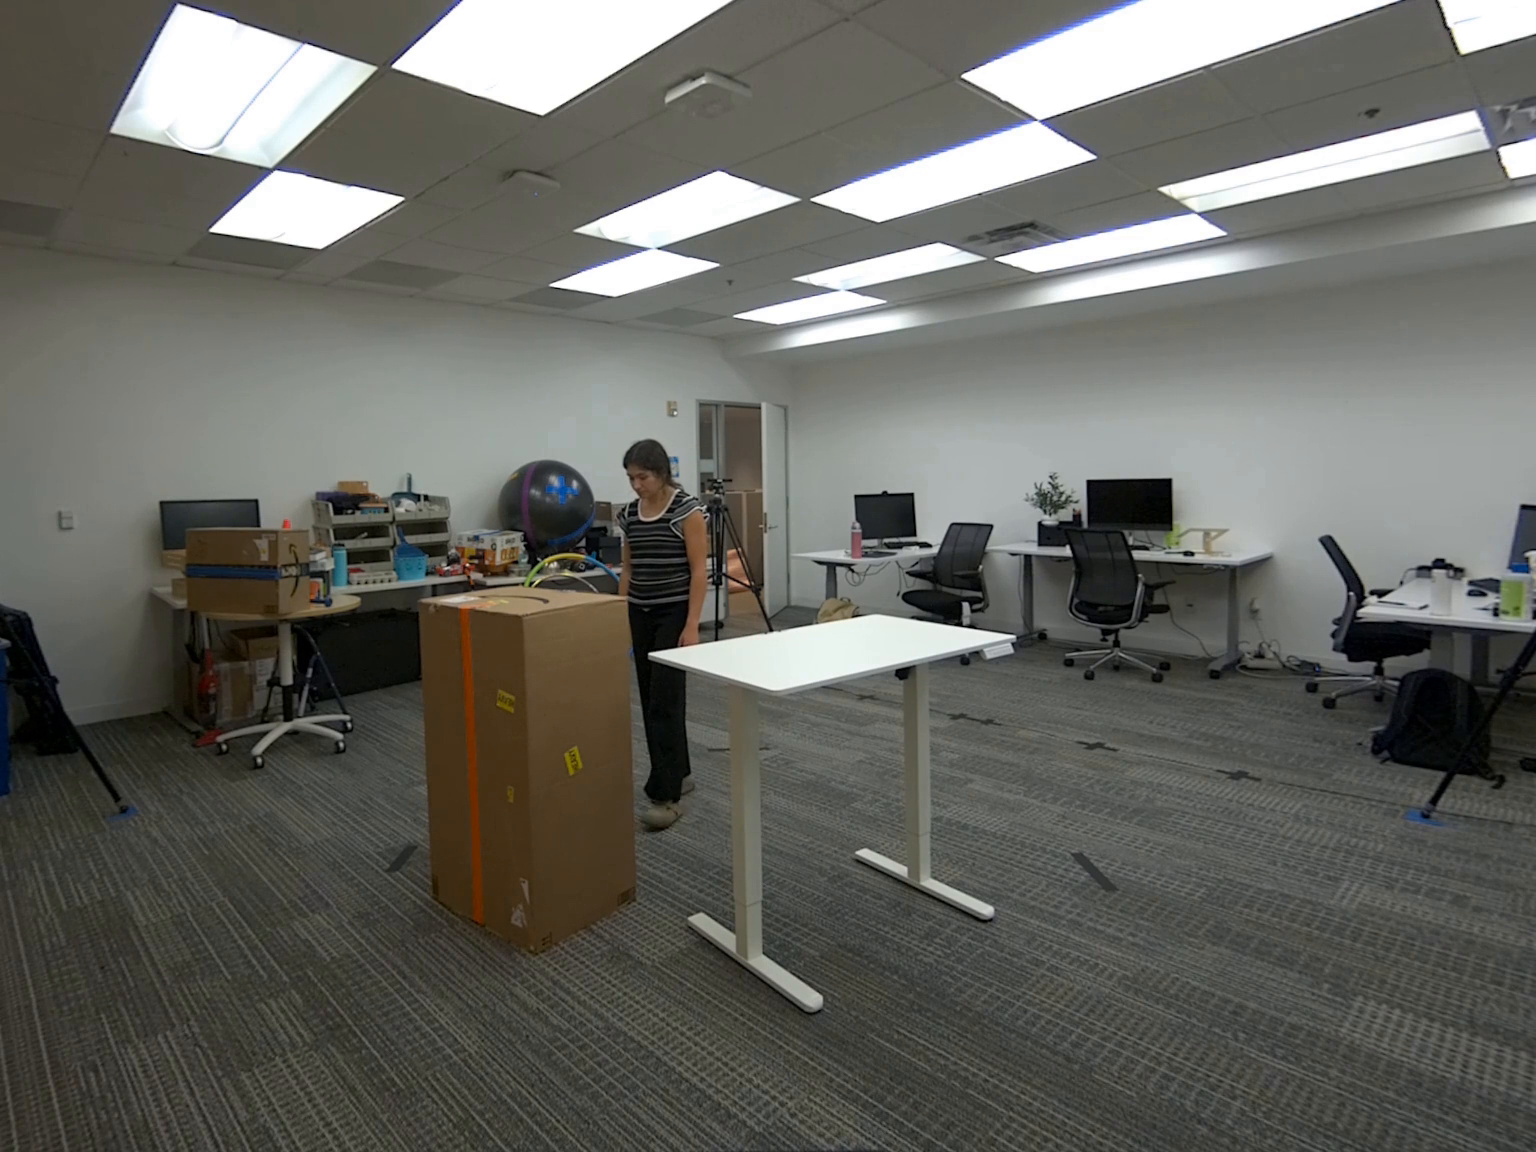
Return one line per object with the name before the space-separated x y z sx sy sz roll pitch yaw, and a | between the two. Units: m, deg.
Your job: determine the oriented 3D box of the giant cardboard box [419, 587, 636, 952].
giant cardboard box | -0.804 0.581 2.843 0.595 1.022 0.415 2 5 39
